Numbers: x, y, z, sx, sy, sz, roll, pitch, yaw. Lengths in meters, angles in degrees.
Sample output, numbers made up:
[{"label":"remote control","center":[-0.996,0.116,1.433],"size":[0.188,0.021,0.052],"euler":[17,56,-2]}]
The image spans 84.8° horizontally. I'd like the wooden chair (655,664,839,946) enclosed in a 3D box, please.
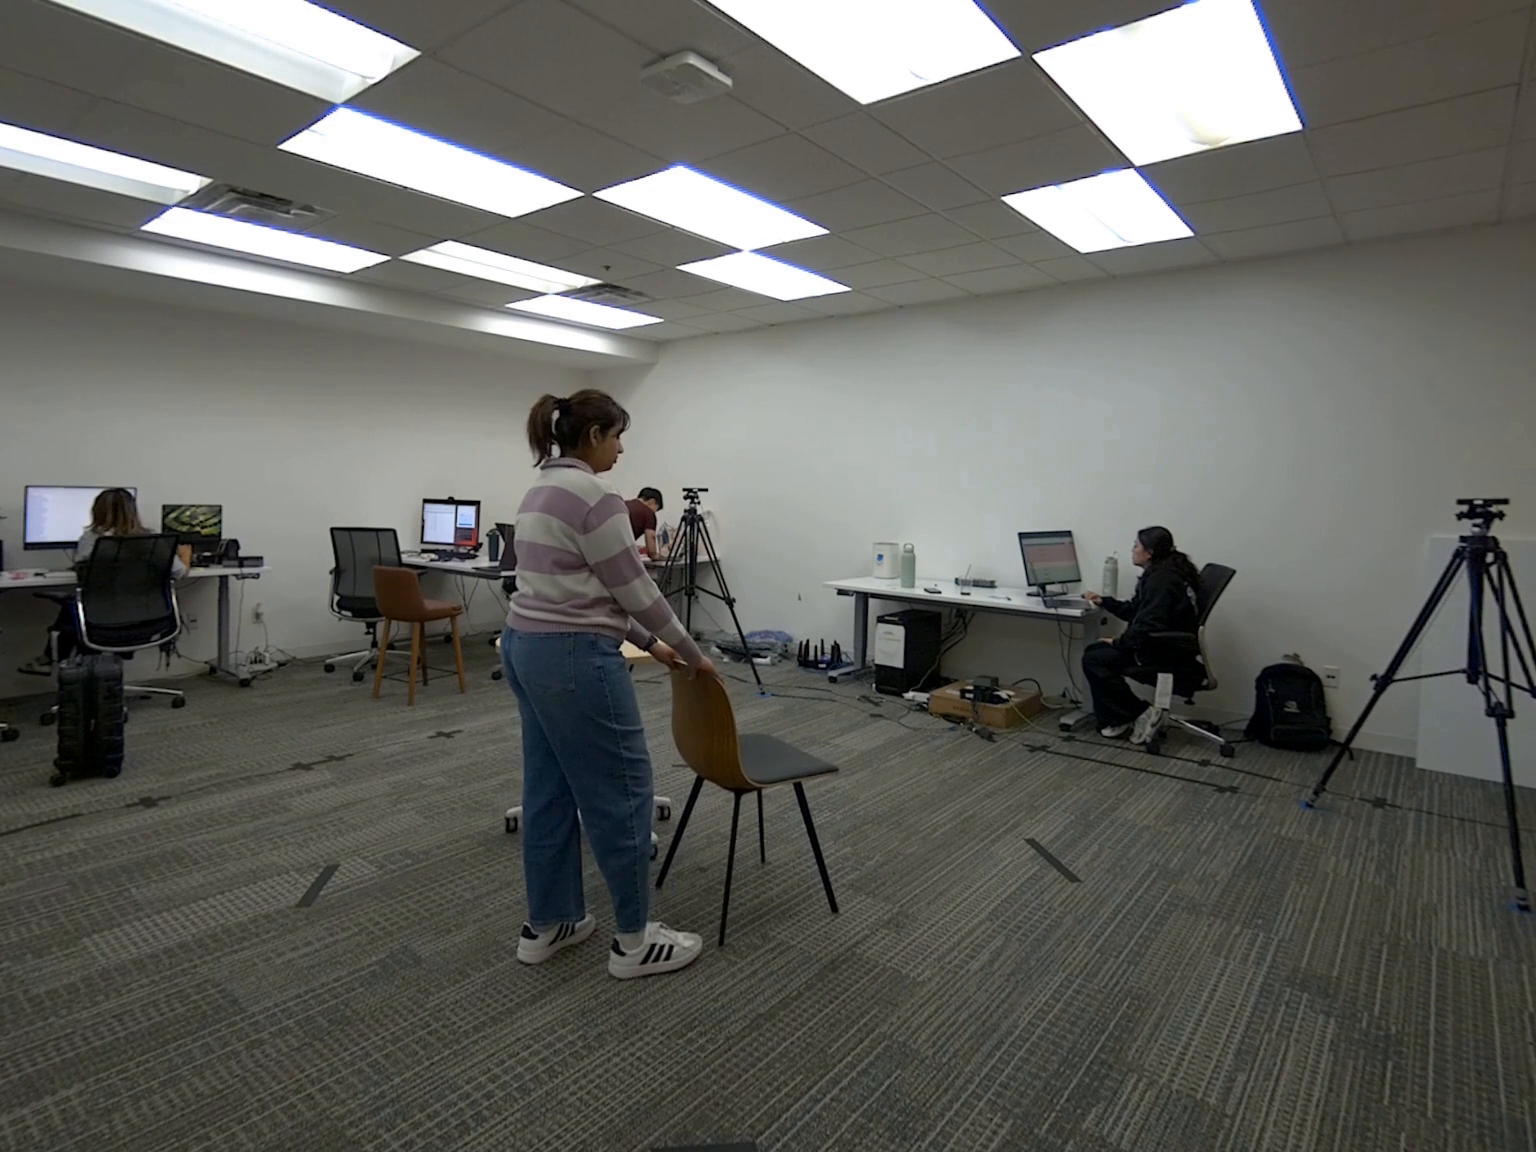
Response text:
[{"label":"wooden chair","center":[-0.071,0.667,2.862],"size":[0.510,0.873,0.493],"euler":[-6,6,-32]}]
